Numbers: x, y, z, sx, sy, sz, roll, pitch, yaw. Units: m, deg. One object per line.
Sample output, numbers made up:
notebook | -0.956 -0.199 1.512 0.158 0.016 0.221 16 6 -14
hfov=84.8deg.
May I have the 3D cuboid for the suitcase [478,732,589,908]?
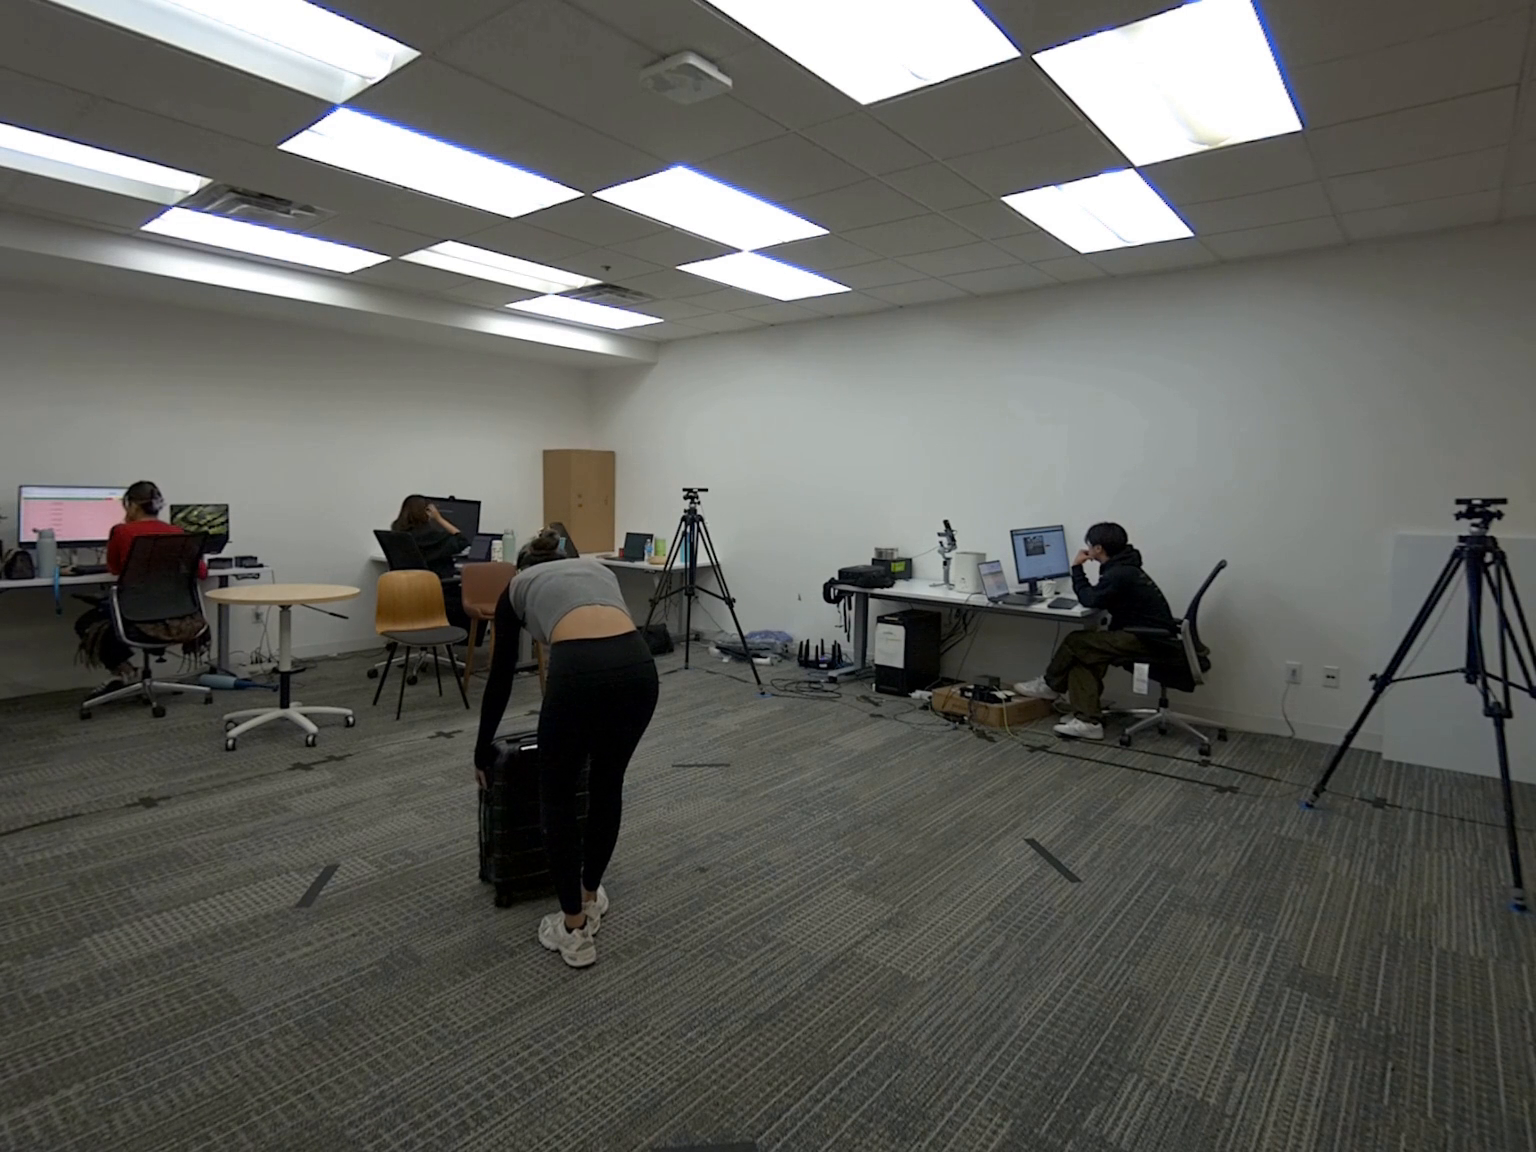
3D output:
suitcase | -0.821 0.803 2.933 0.365 0.547 0.256 -2 5 -30
